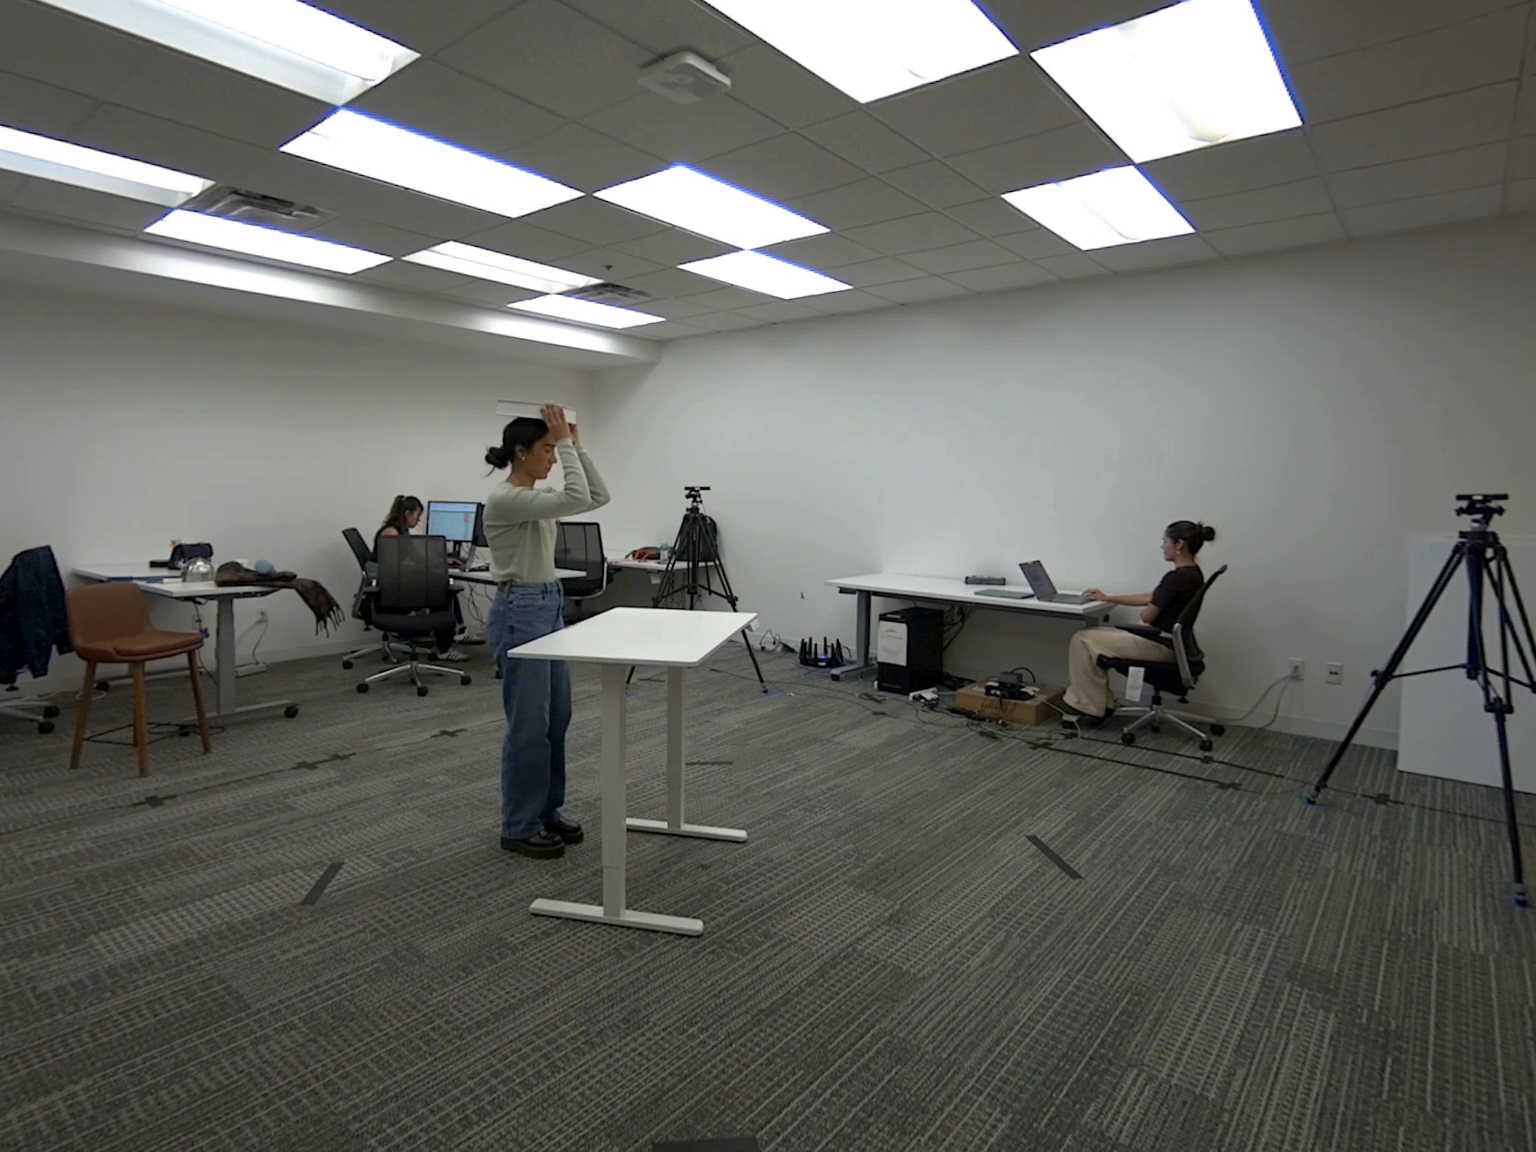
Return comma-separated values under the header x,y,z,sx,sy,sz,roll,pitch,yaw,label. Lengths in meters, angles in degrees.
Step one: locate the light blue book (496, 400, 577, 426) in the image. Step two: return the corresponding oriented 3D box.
x,y,z,sx,sy,sz,roll,pitch,yaw,label
-0.896,-0.630,3.231,0.262,0.059,0.191,6,4,4,light blue book
